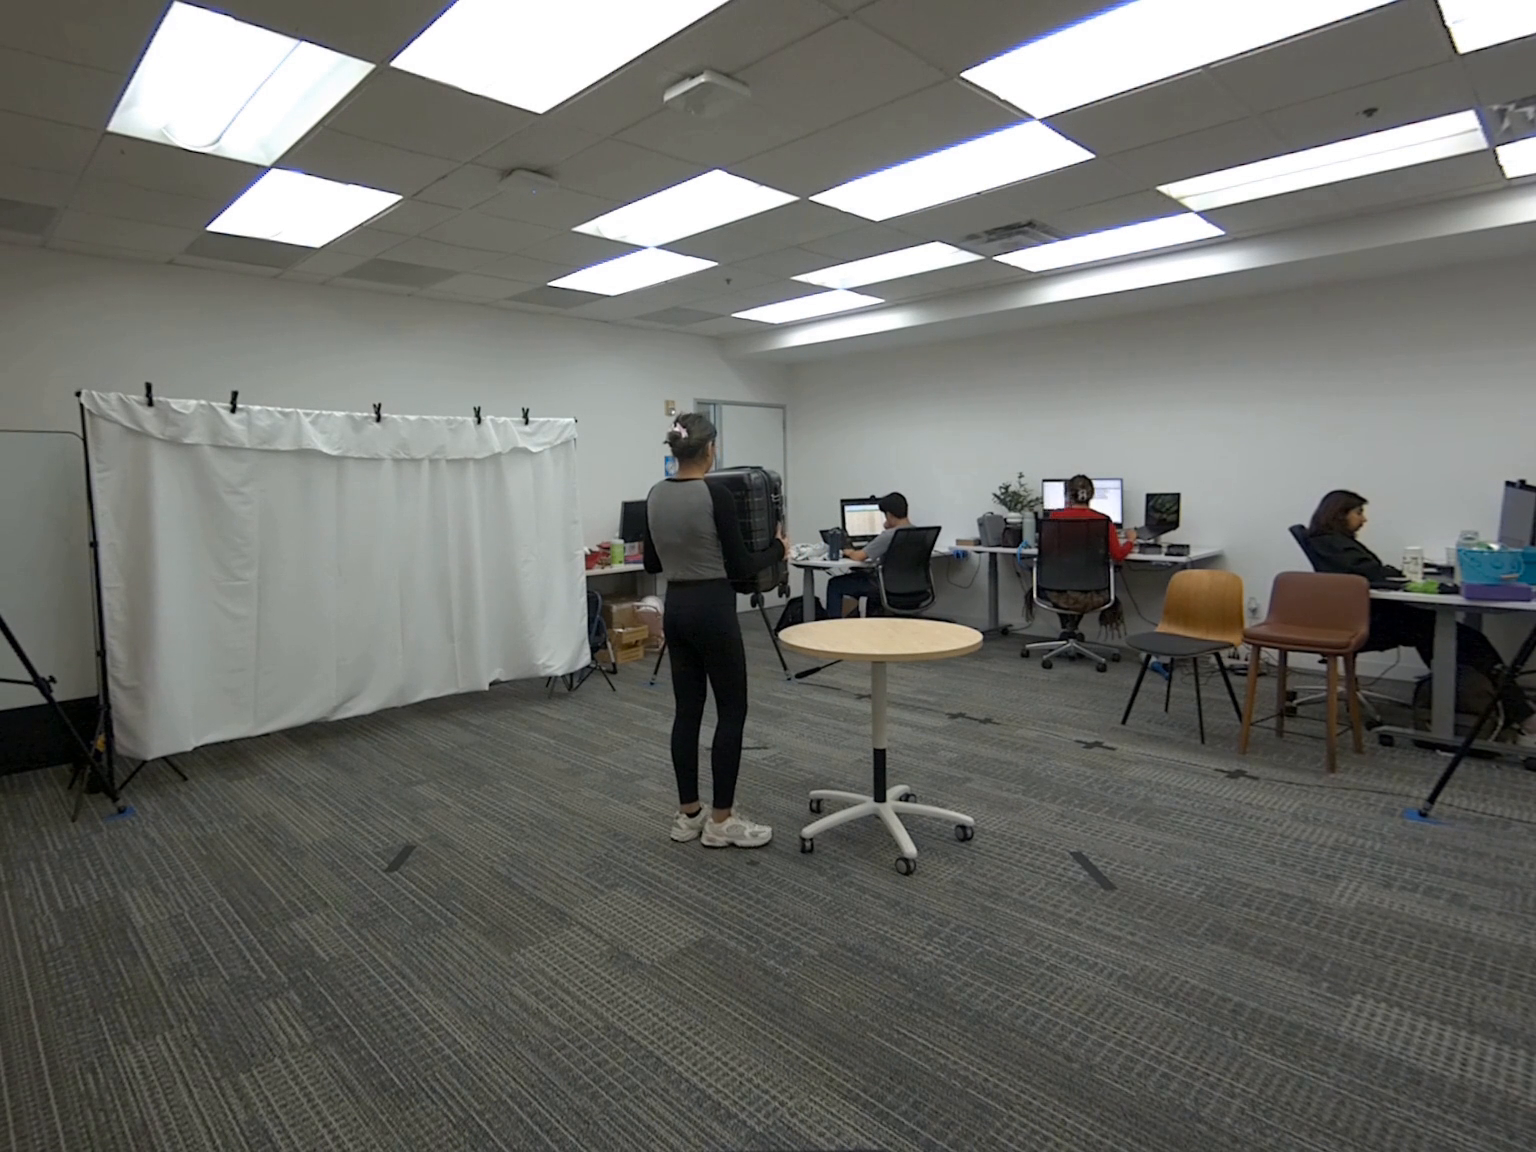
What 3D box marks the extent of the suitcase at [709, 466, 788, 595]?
[{"bbox_3d":[-0.118,-0.174,3.538,0.386,0.546,0.243,2,8,35],"label":"suitcase"}]
